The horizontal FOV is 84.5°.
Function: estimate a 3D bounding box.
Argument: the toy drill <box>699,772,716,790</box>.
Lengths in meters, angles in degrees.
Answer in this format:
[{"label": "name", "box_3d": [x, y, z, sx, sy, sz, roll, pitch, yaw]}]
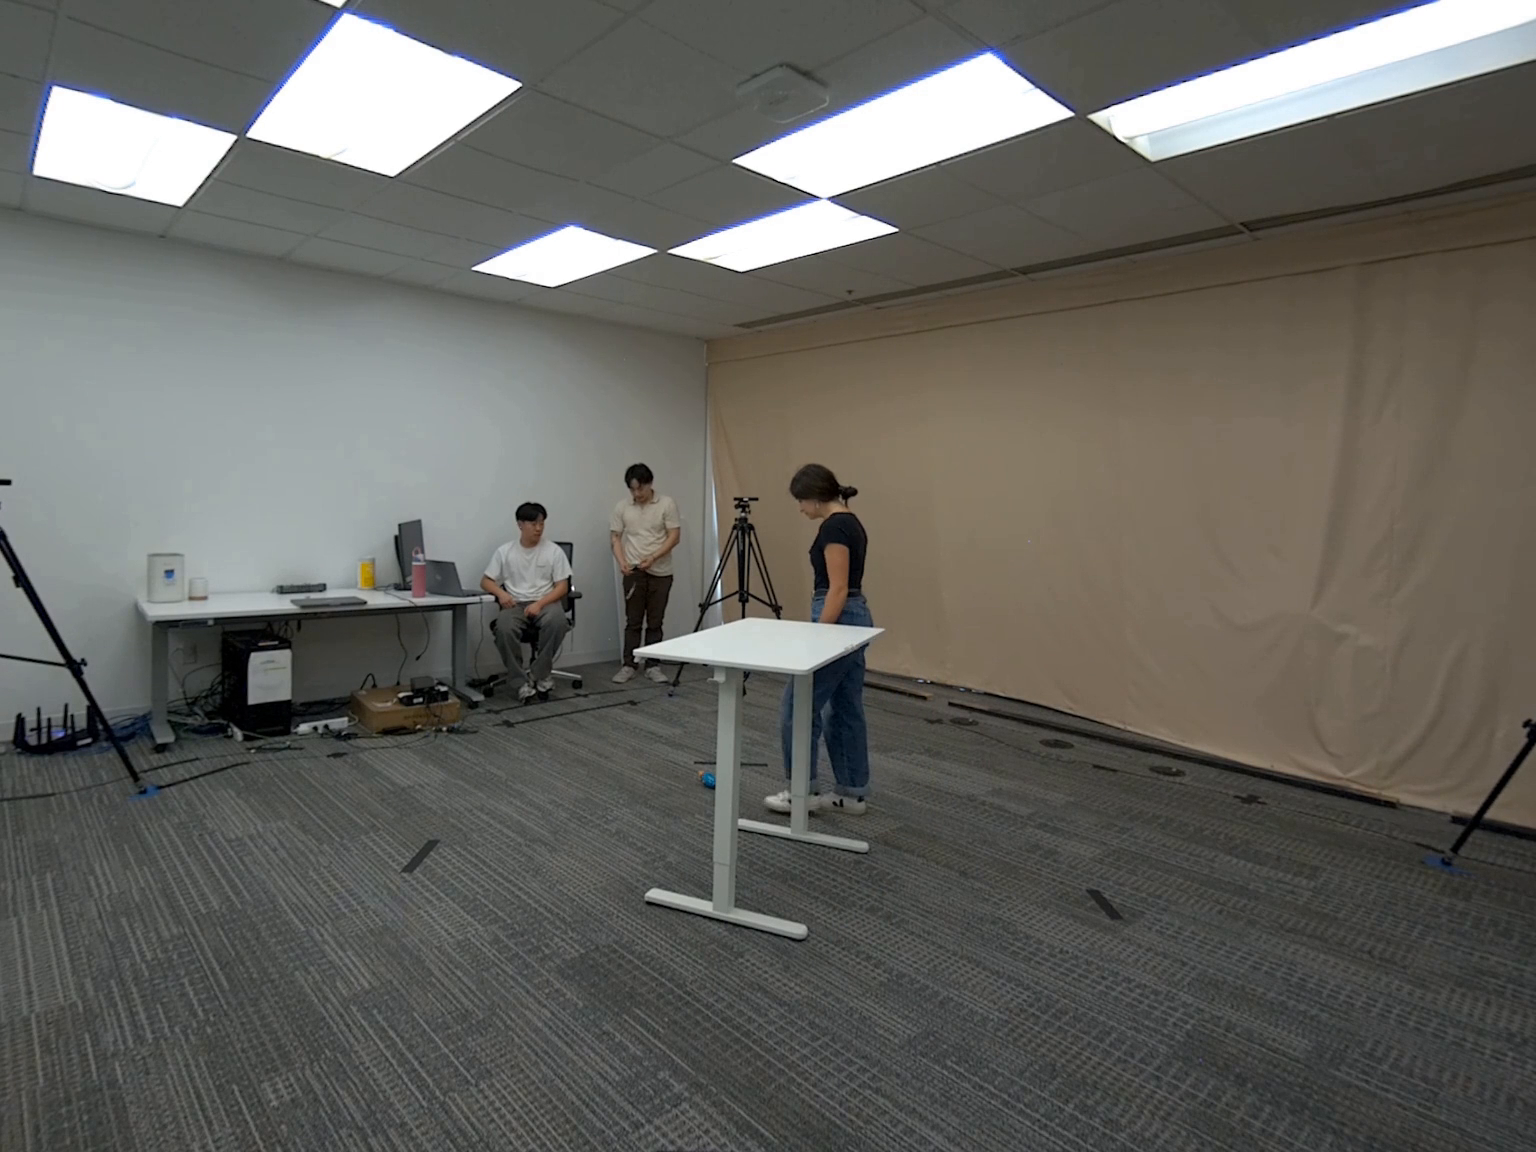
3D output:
[{"label": "toy drill", "box_3d": [-0.268, 0.982, 4.119, 0.143, 0.061, 0.174, -1, 8, -31]}]
